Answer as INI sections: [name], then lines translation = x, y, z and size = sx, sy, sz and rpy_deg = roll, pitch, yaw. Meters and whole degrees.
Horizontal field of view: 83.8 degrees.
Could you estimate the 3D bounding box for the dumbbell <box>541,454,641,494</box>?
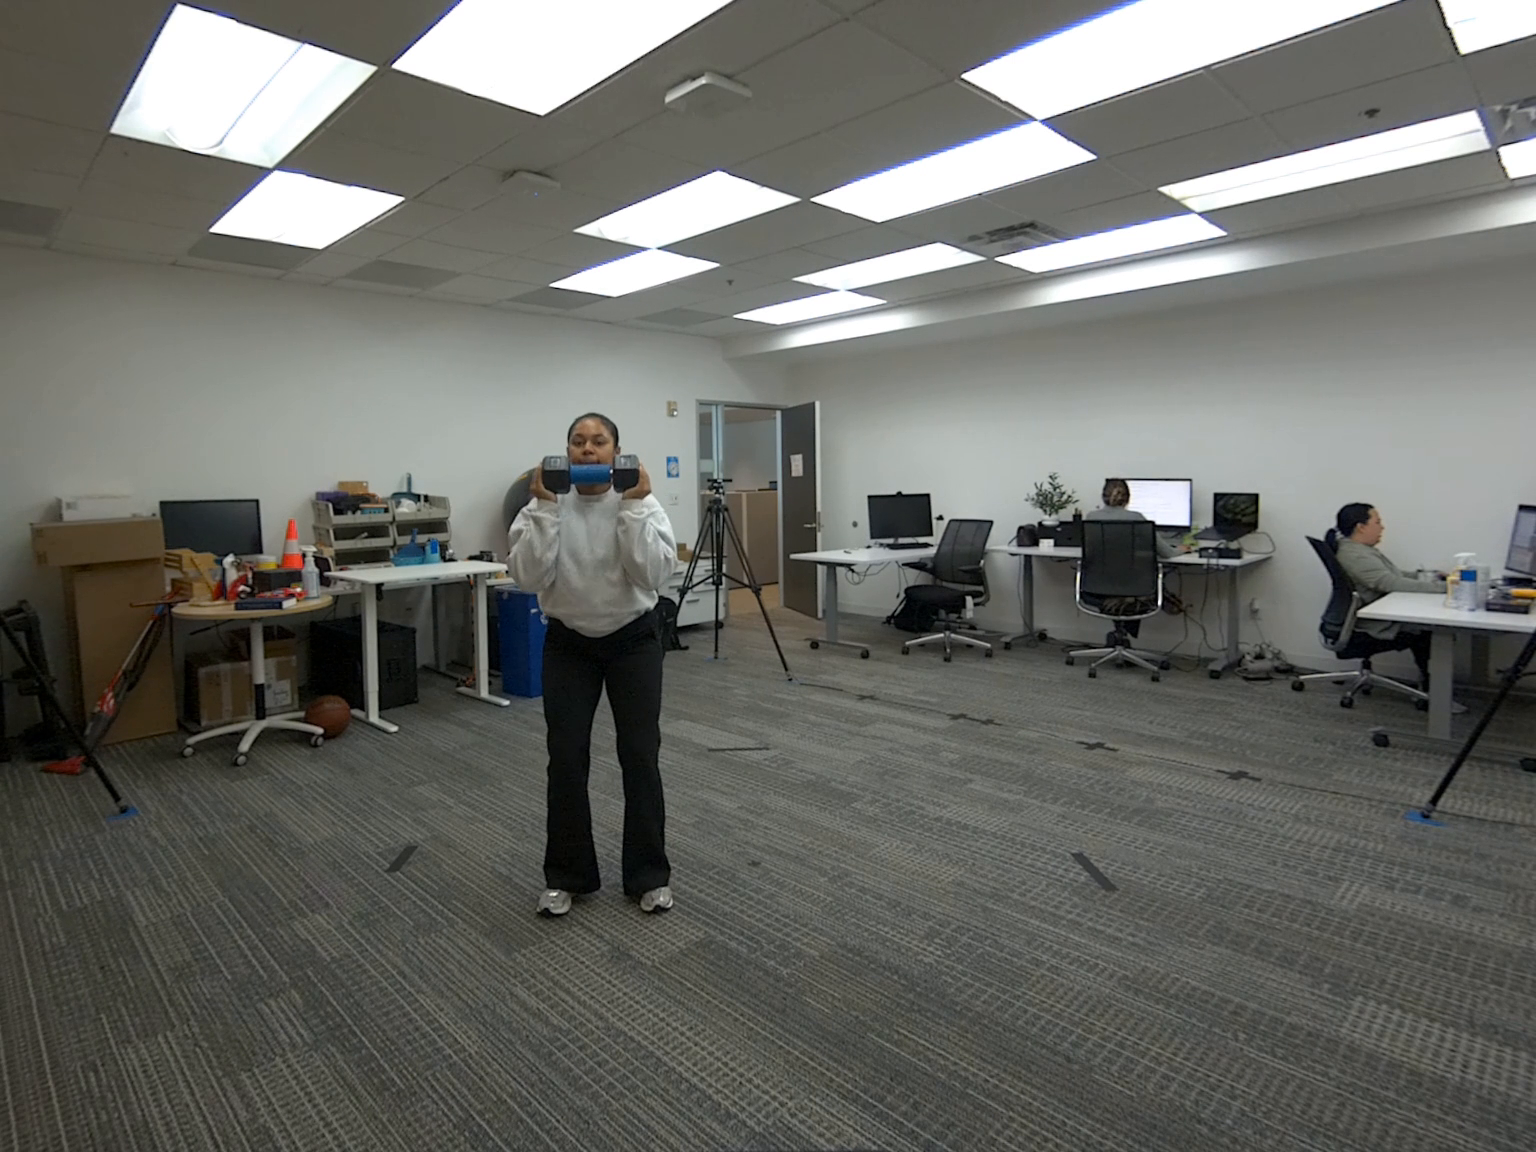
[dumbbell]
translation = -0.546, -0.294, 2.622
size = 0.292, 0.126, 0.106
rpy_deg = -1, -41, -5
